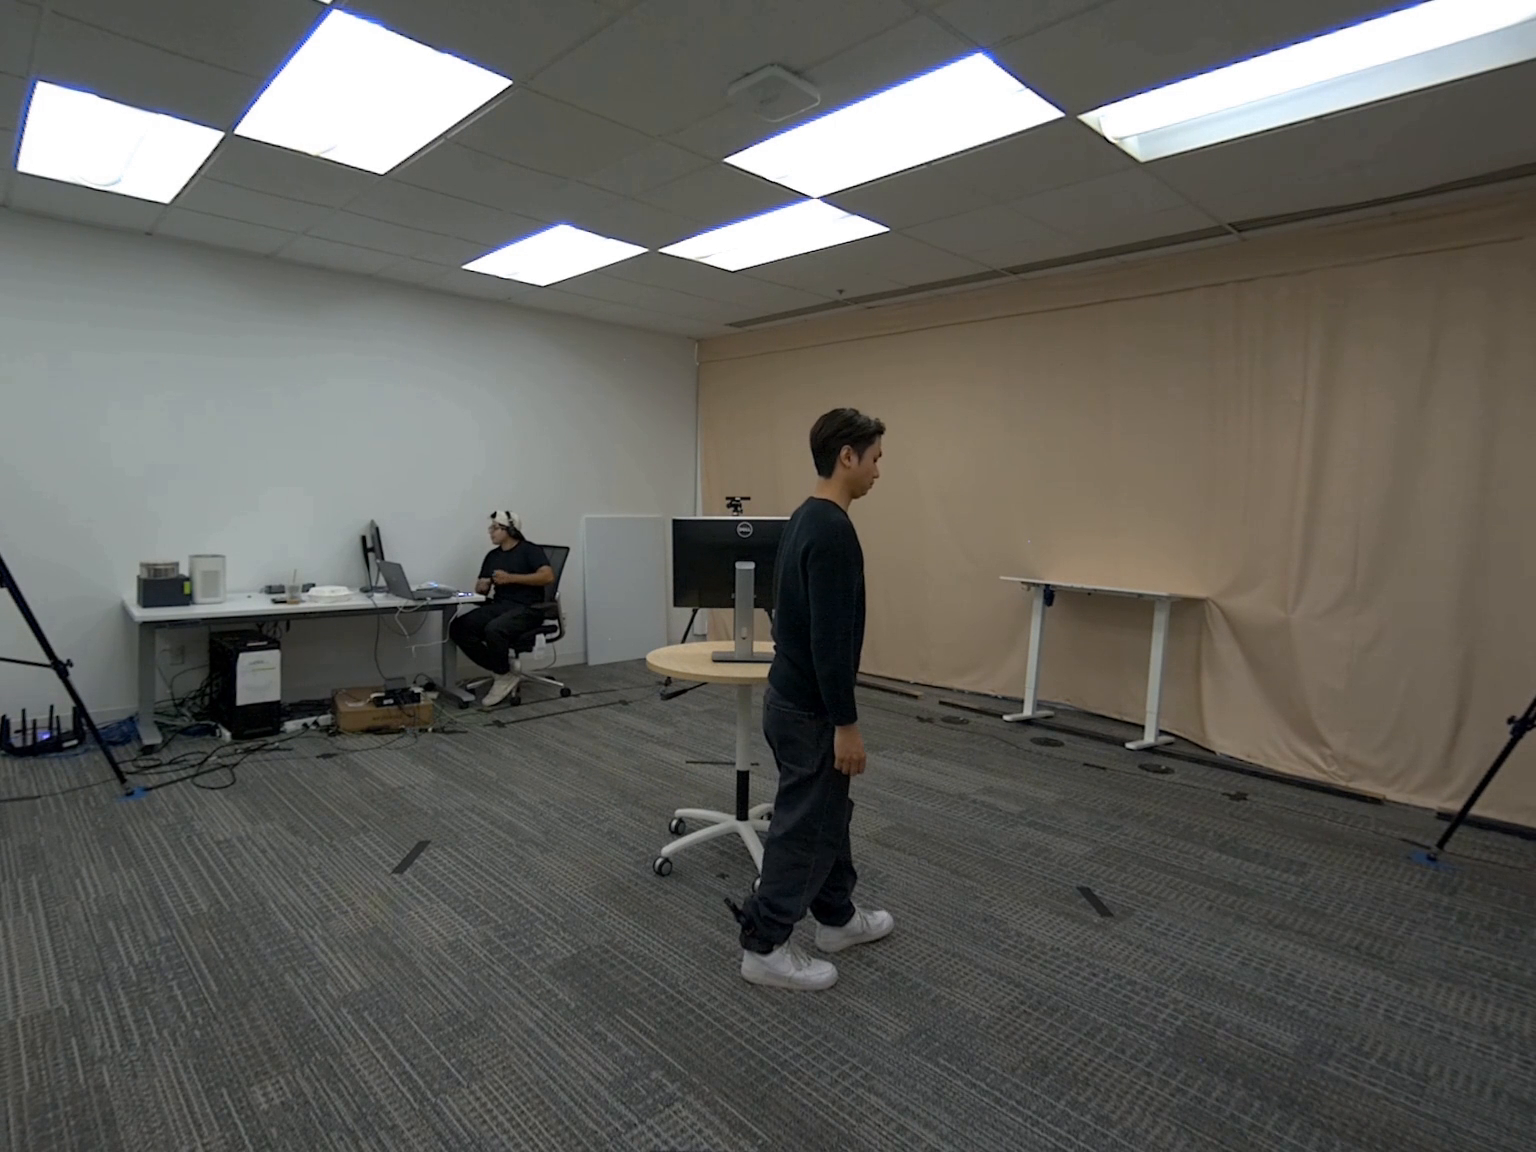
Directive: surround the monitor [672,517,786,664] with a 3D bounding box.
[{"bbox_3d":[-0.092,0.058,3.214,0.538,0.521,0.188,2,3,-2],"label":"monitor"}]
